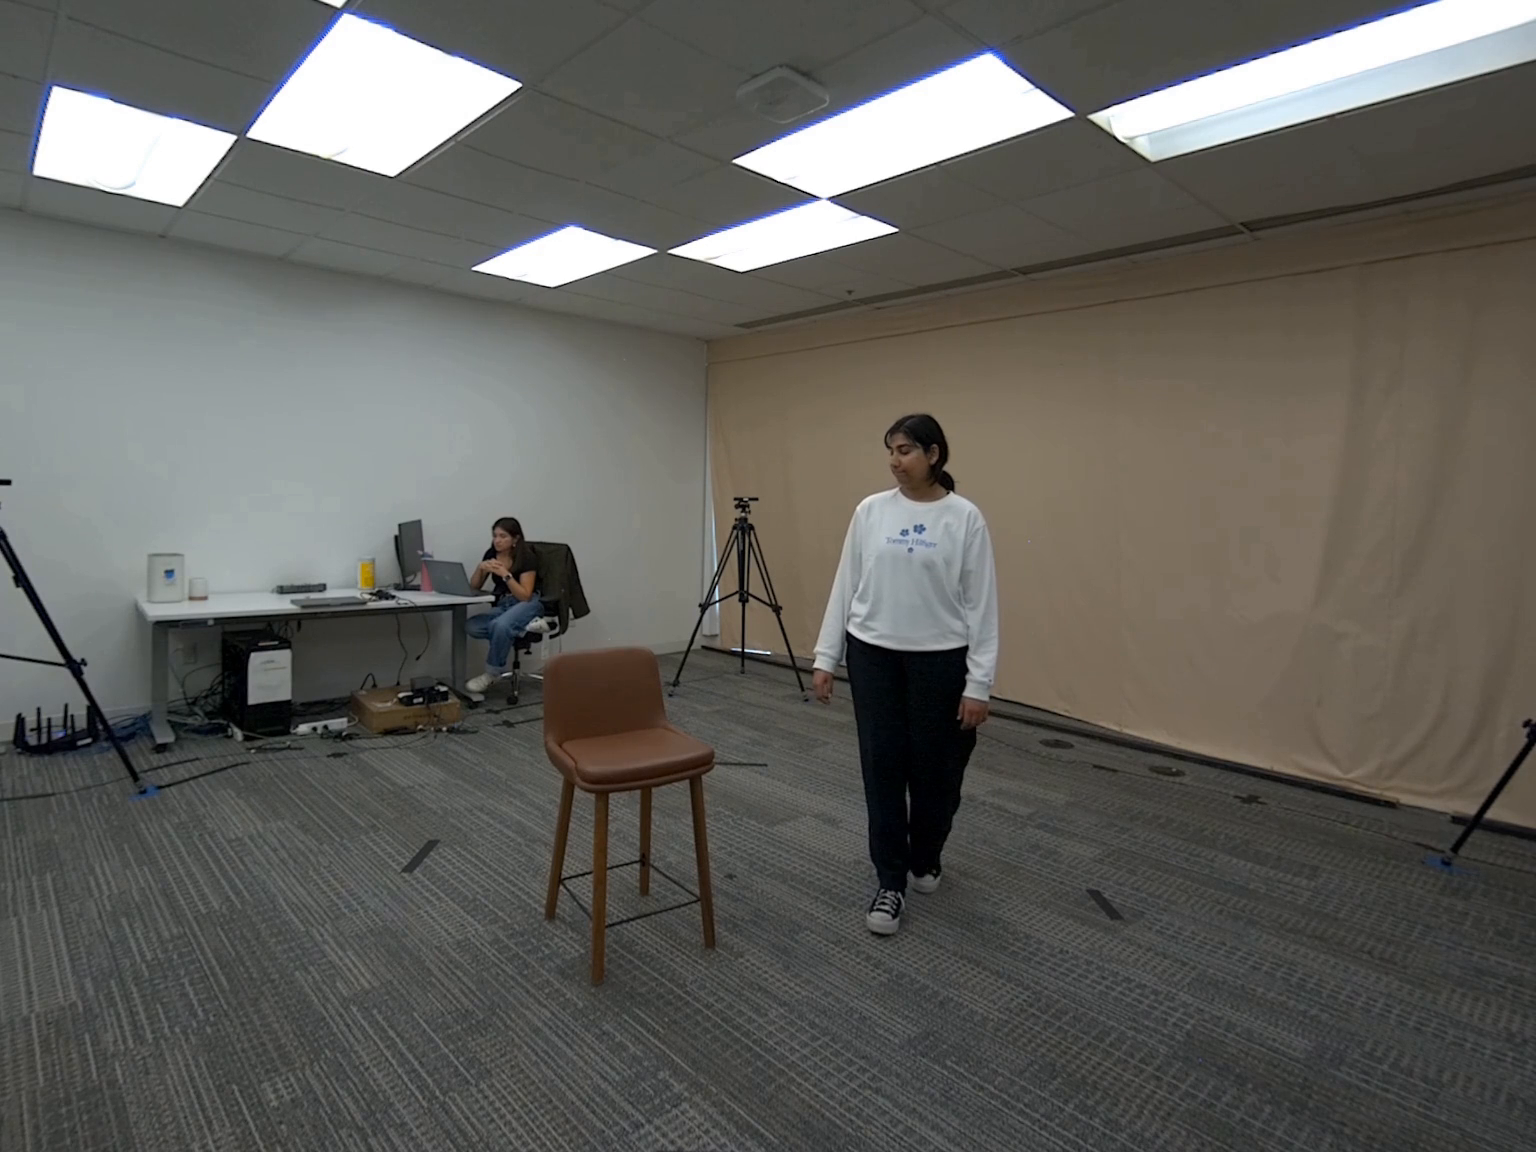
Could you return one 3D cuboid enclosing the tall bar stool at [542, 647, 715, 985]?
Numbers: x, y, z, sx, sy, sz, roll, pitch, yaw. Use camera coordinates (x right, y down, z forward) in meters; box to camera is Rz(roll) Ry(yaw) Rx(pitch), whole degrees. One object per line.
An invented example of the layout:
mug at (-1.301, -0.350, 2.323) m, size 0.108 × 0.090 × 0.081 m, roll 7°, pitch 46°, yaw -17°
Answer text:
tall bar stool at (-0.454, 0.711, 2.659) m, size 0.446 × 0.889 × 0.478 m, roll -1°, pitch 2°, yaw -34°
